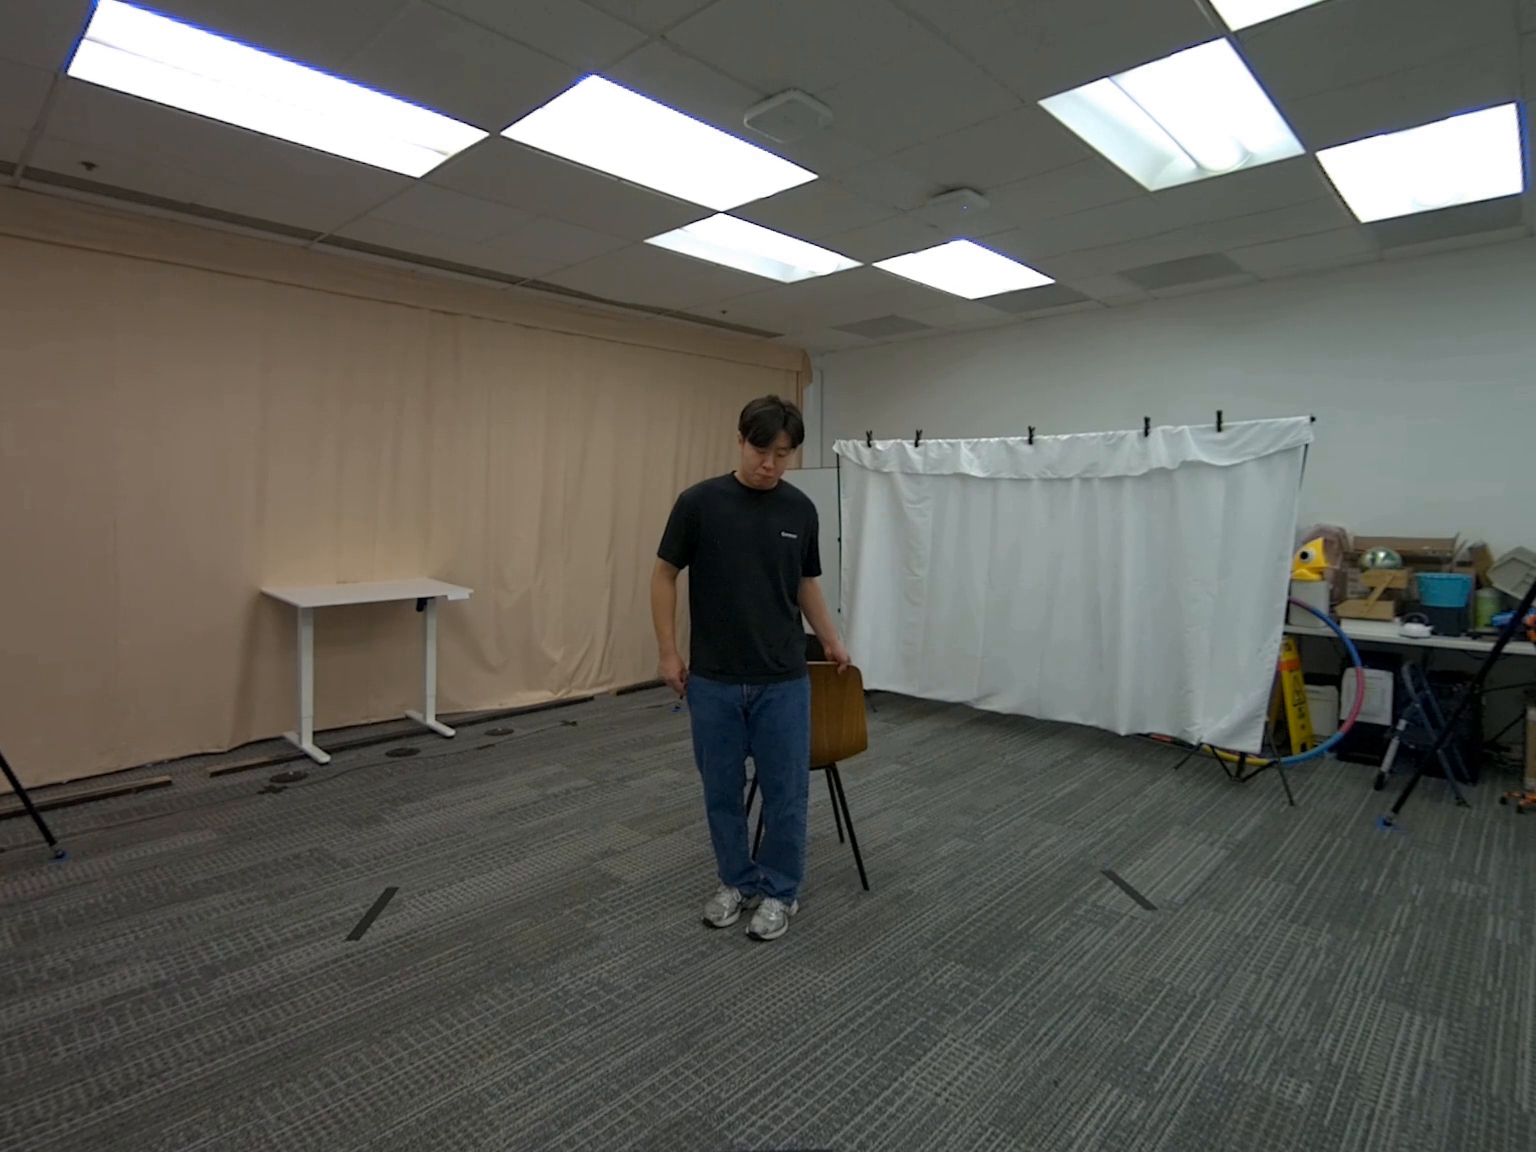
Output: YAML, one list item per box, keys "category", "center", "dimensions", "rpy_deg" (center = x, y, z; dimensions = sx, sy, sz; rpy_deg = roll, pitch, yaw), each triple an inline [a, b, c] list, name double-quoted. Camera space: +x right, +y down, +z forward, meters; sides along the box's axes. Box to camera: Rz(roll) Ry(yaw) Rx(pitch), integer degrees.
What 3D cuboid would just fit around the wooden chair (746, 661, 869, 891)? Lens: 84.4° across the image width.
- category: "wooden chair"
  center: [0.121, 0.694, 3.233]
  dimensions: [0.476, 0.873, 0.528]
  rpy_deg: [-1, 8, -5]
